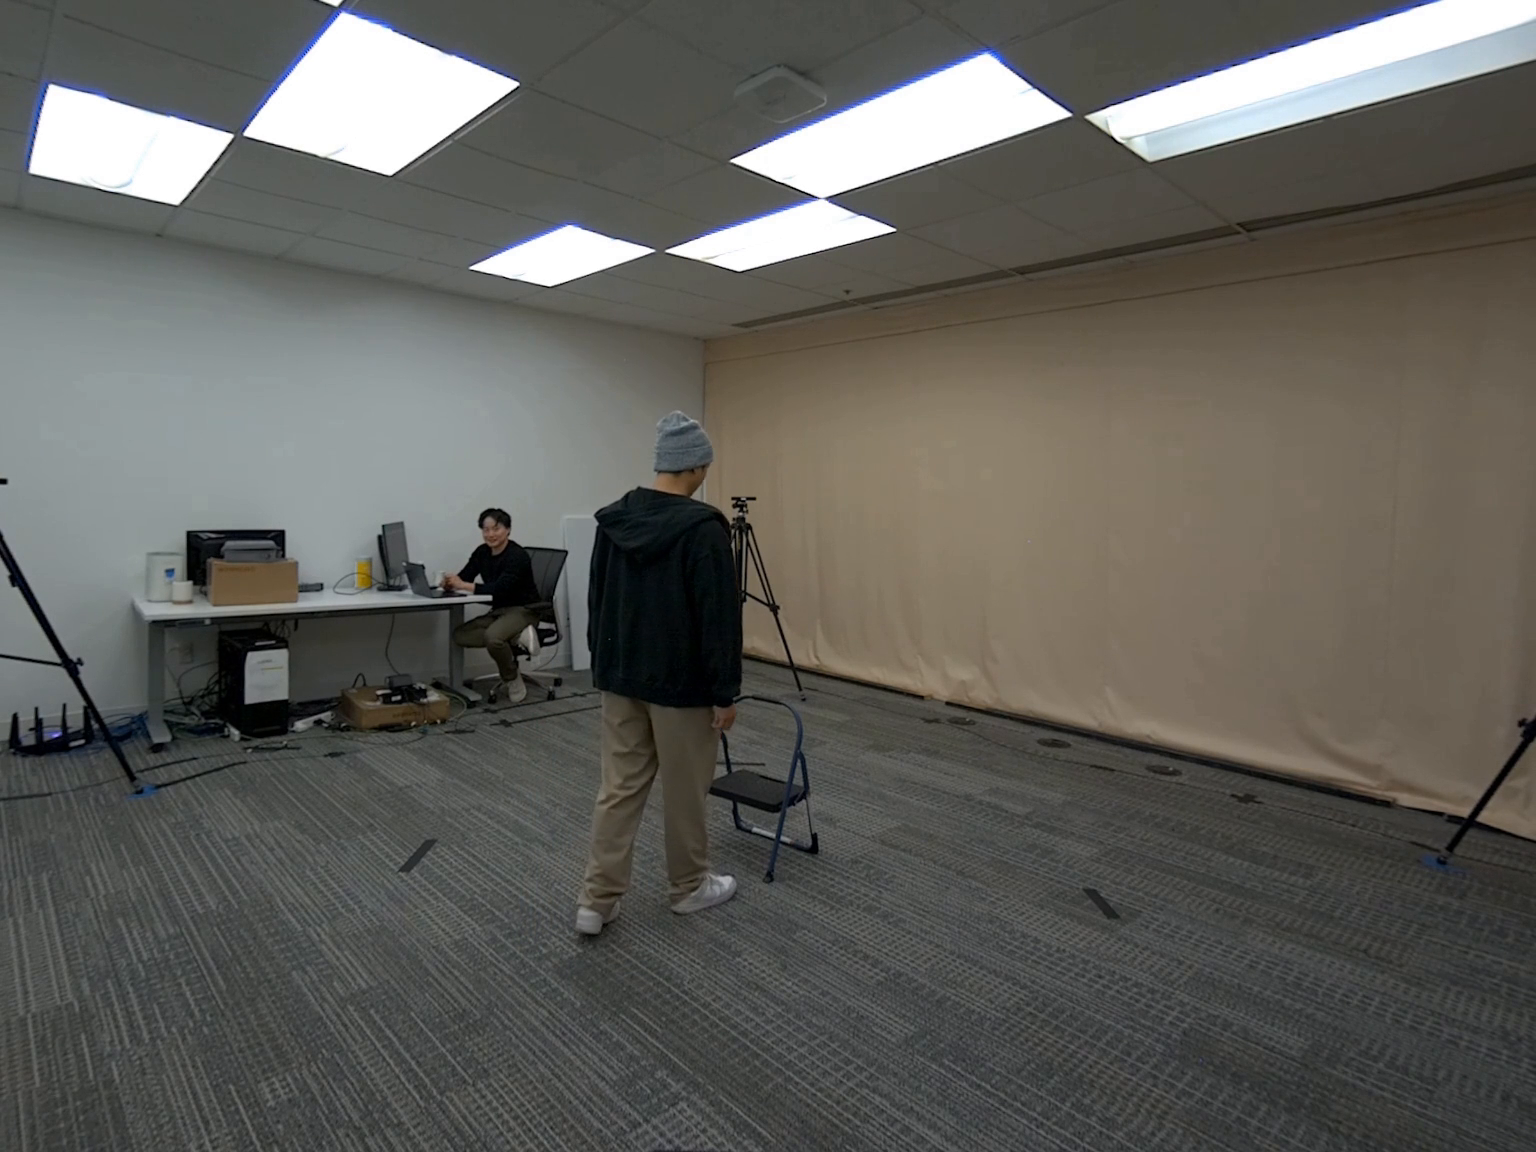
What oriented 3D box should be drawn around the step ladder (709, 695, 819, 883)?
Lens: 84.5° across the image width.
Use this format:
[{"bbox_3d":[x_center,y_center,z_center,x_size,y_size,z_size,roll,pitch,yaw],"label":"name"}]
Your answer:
[{"bbox_3d":[-0.059,0.788,3.304,0.441,0.604,0.341,4,4,37],"label":"step ladder"}]
